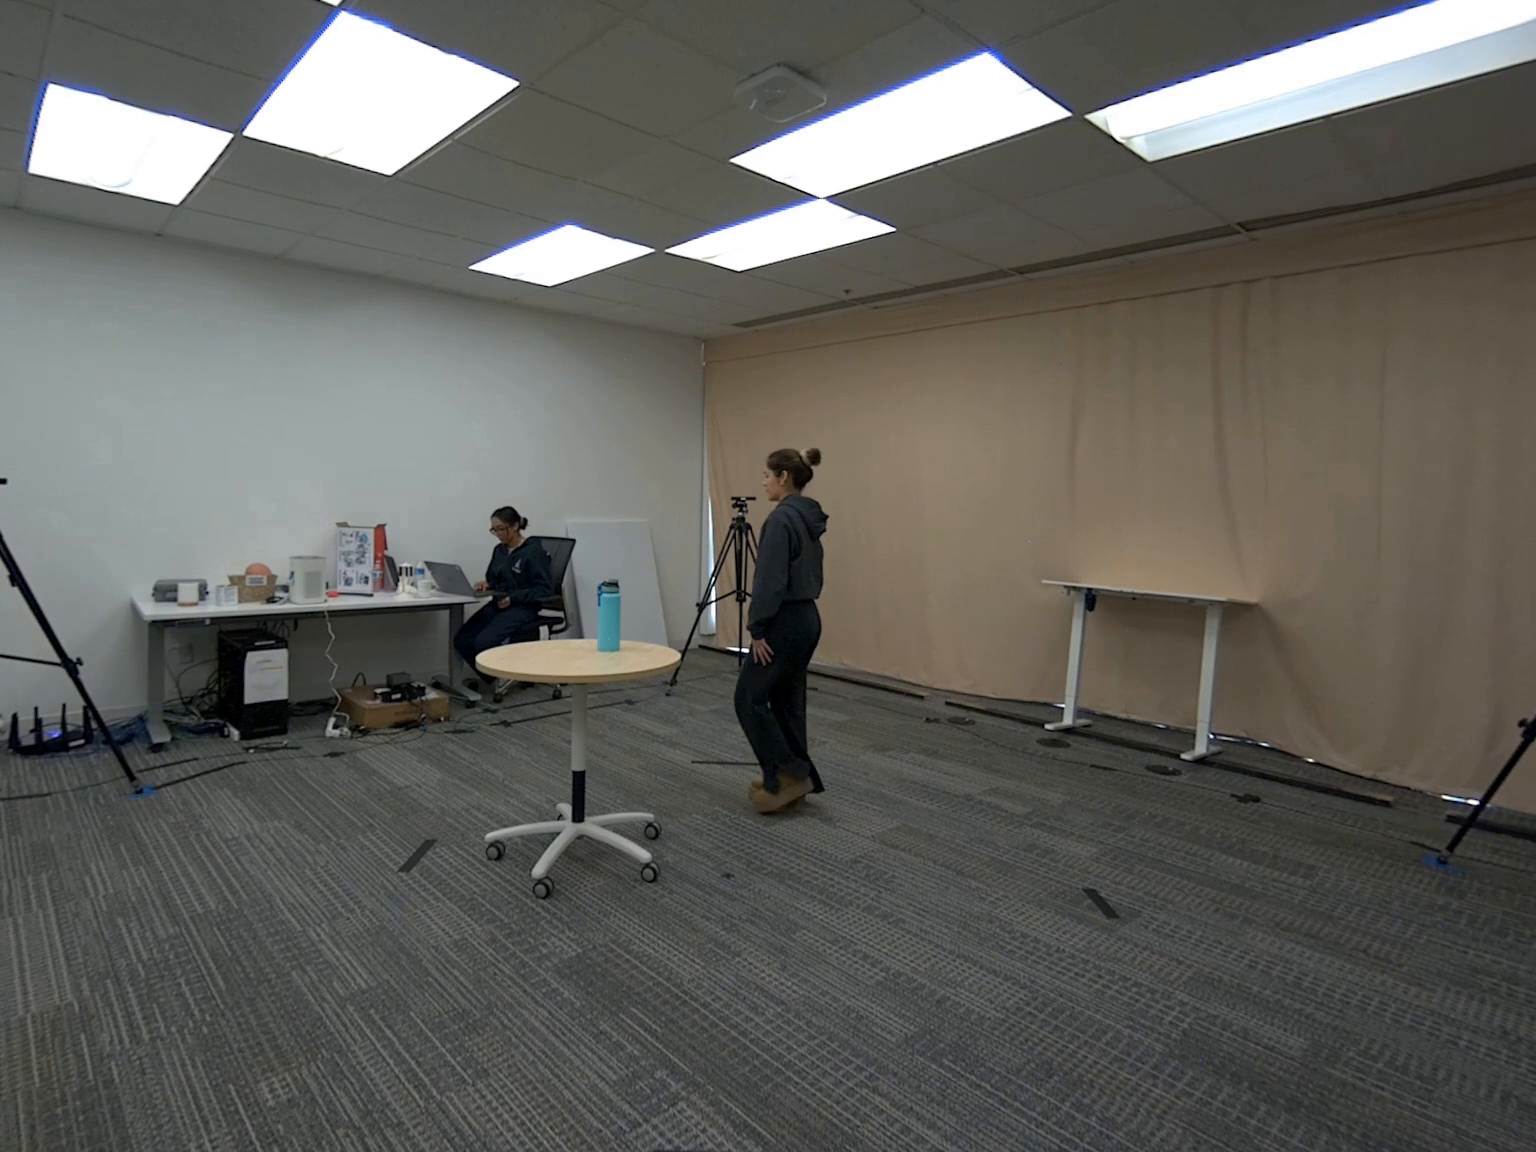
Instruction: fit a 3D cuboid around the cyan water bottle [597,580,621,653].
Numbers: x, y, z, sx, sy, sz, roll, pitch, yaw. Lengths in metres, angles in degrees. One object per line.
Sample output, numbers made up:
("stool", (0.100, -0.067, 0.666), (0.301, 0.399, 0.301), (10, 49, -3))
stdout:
("cyan water bottle", (-0.644, 0.154, 3.329), (0.092, 0.282, 0.092), (1, 4, -1))
